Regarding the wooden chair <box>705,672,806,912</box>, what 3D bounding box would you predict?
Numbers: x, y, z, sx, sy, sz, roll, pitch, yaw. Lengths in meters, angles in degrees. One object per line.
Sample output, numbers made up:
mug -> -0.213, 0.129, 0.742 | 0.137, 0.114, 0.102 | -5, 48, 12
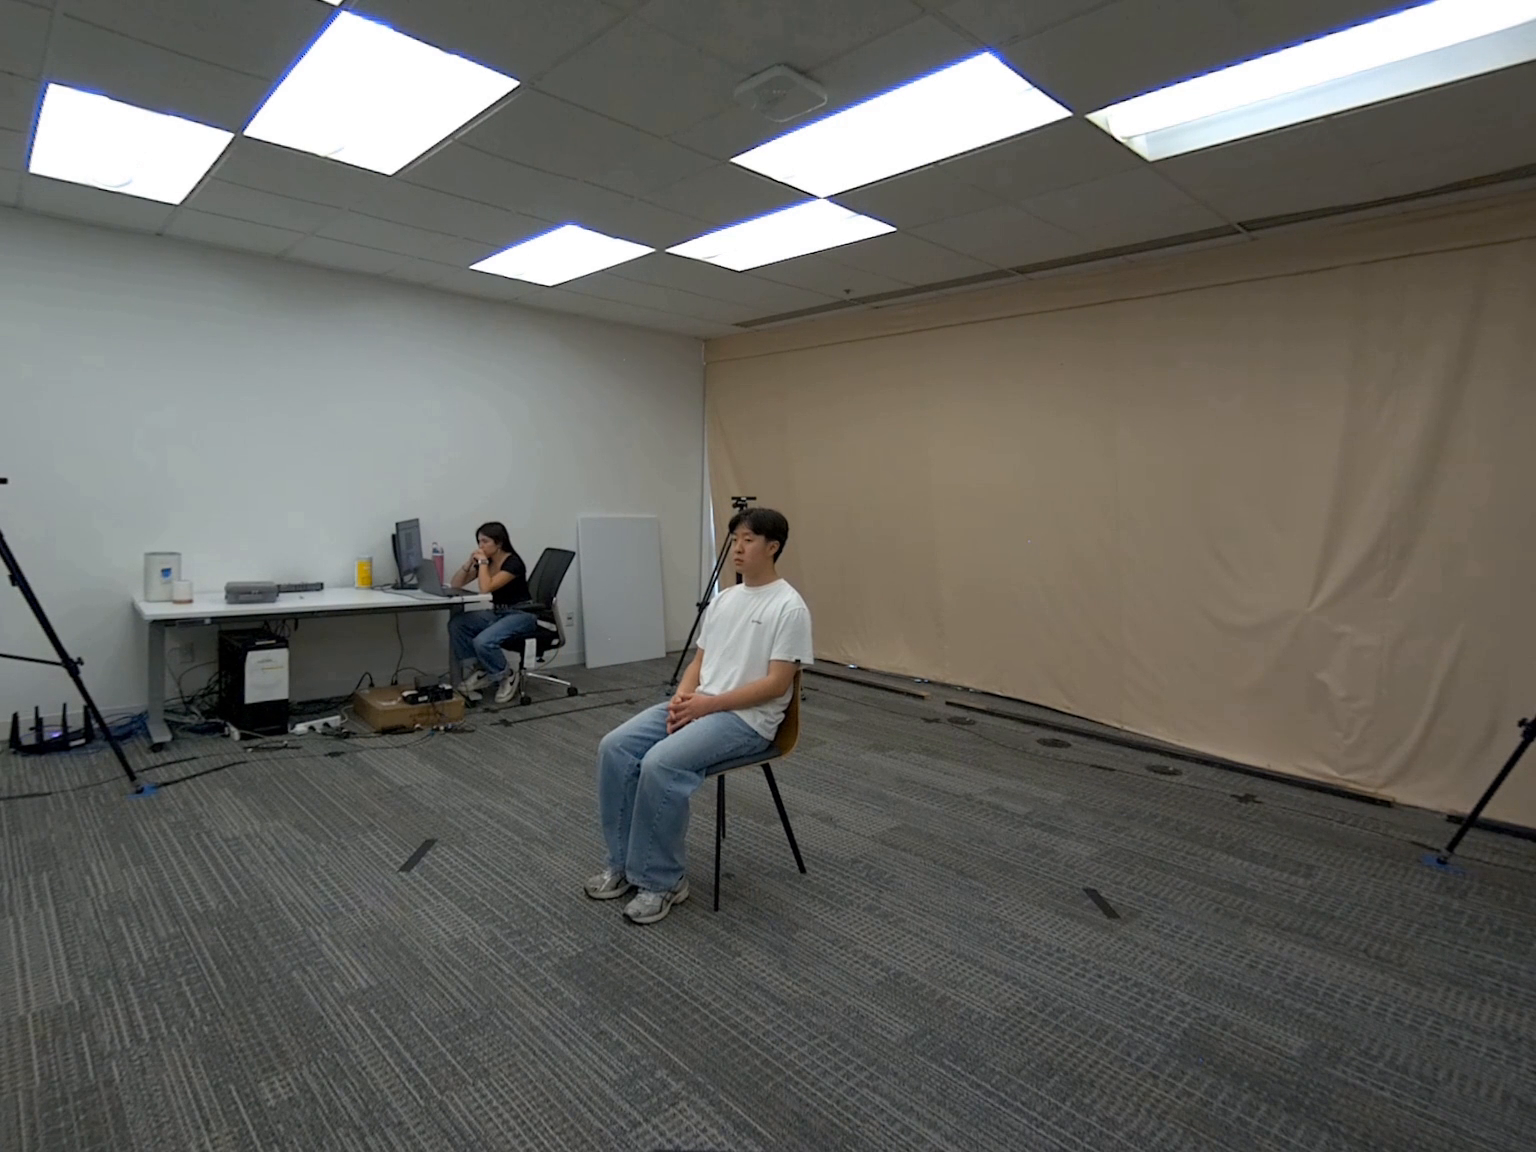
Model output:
wooden chair -> -0.173, 0.678, 3.120 | 0.510, 0.878, 0.490 | 5, -1, -45
